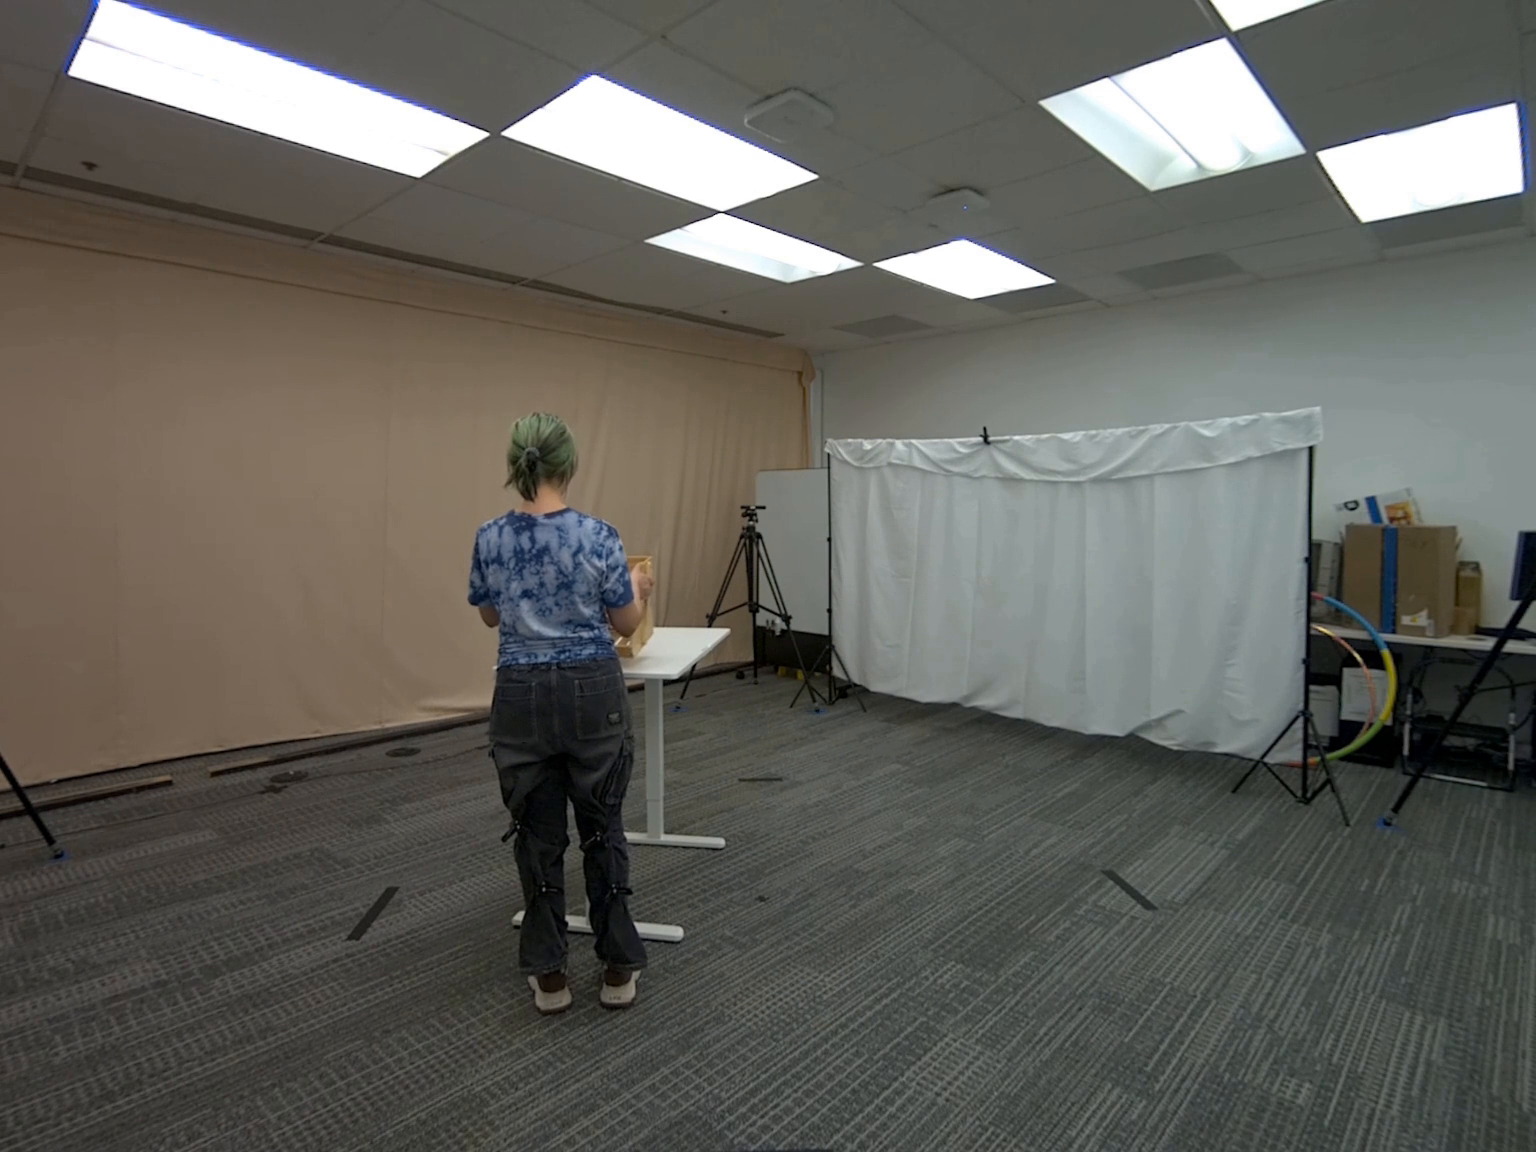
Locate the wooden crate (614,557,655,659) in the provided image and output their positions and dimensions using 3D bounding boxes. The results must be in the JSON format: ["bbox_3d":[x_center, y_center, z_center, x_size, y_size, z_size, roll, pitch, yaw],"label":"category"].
[{"bbox_3d":[-0.561,0.100,2.750,0.328,0.270,0.301,-1,15,11],"label":"wooden crate"}]
